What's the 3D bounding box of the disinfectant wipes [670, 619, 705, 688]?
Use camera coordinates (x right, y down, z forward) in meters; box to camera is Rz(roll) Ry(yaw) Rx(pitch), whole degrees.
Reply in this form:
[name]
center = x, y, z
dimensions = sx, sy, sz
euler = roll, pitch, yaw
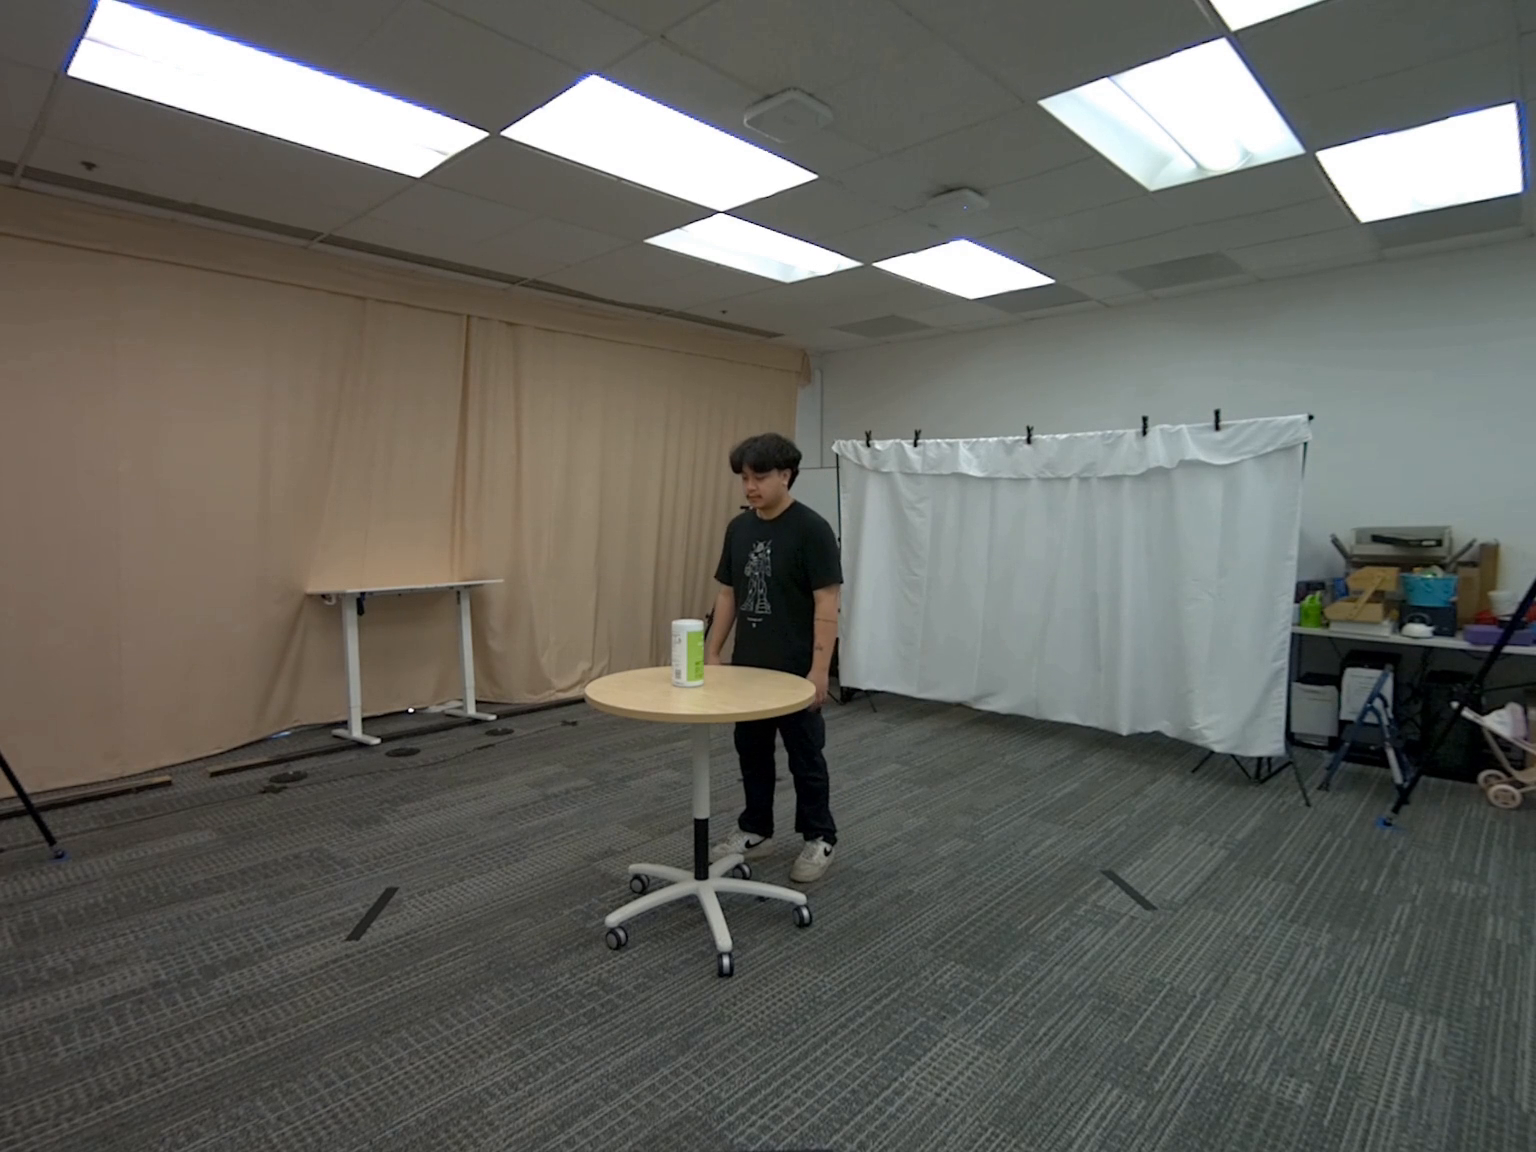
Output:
[disinfectant wipes]
center = -0.271, 0.258, 2.832
dimensions = 0.118, 0.217, 0.118
euler = 1, 3, -2
